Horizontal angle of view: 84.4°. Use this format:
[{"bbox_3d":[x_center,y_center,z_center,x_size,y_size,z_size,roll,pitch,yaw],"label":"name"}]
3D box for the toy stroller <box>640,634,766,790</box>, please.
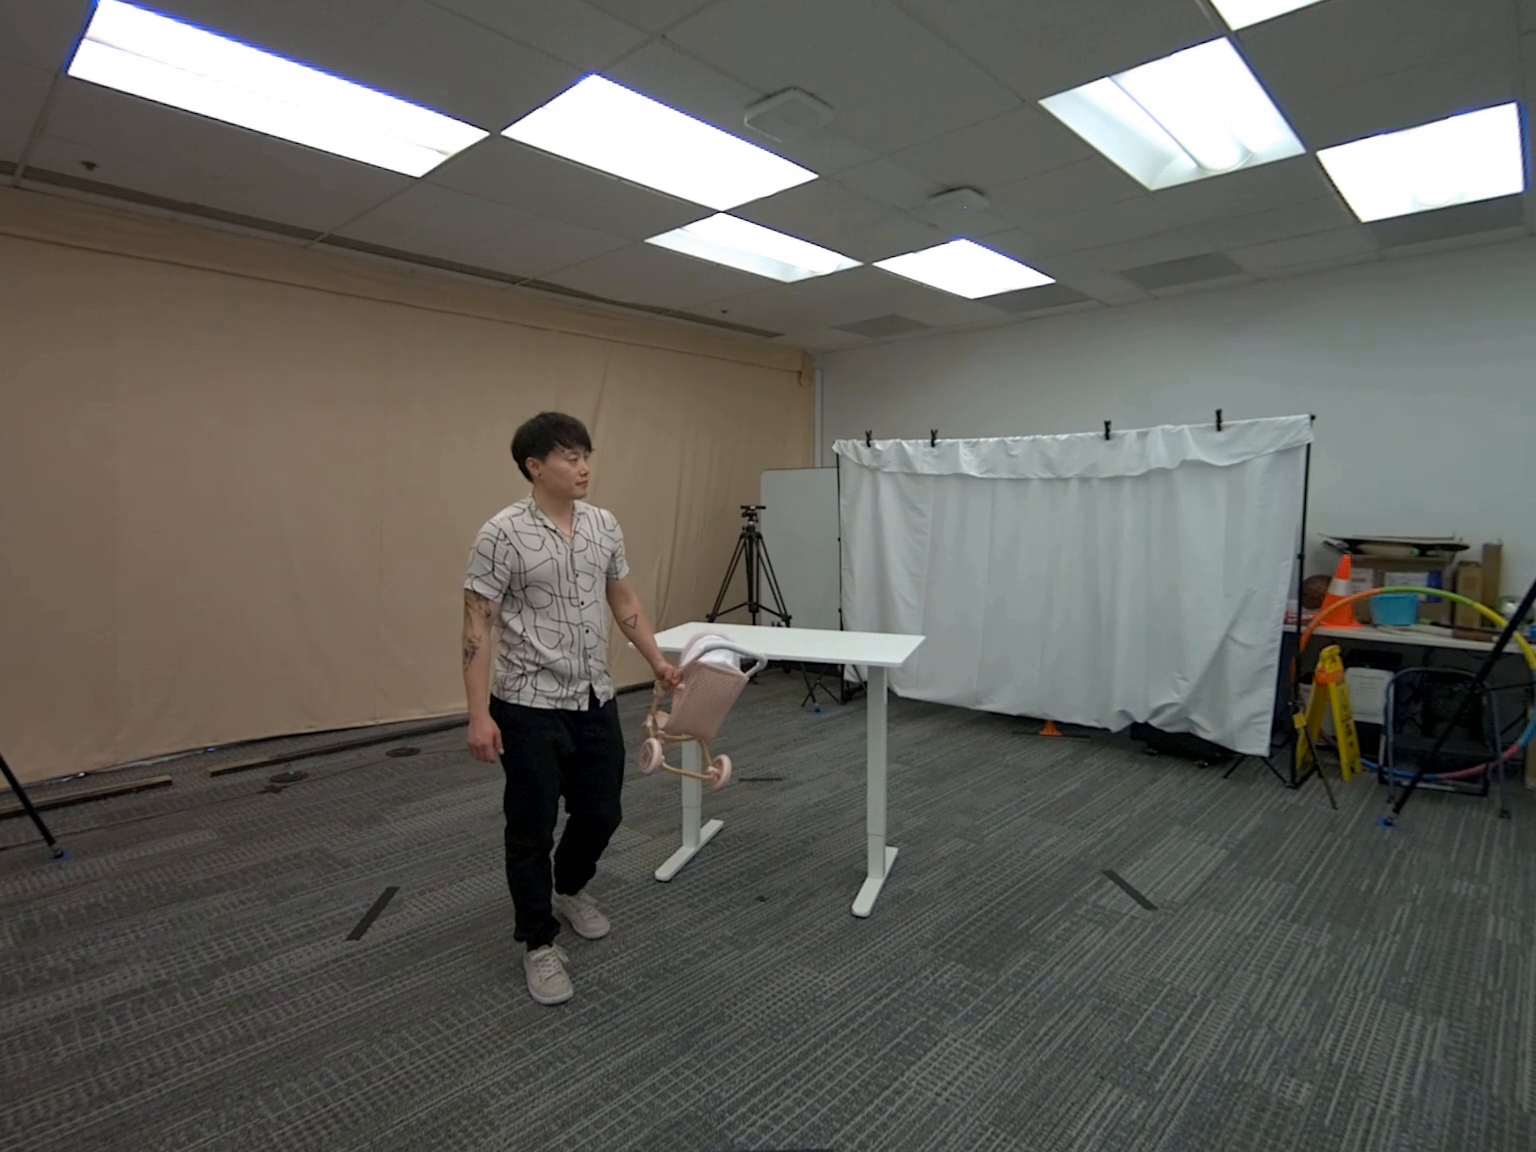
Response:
[{"bbox_3d":[-0.223,0.405,2.643,0.275,0.534,0.350,19,9,-22],"label":"toy stroller"}]
